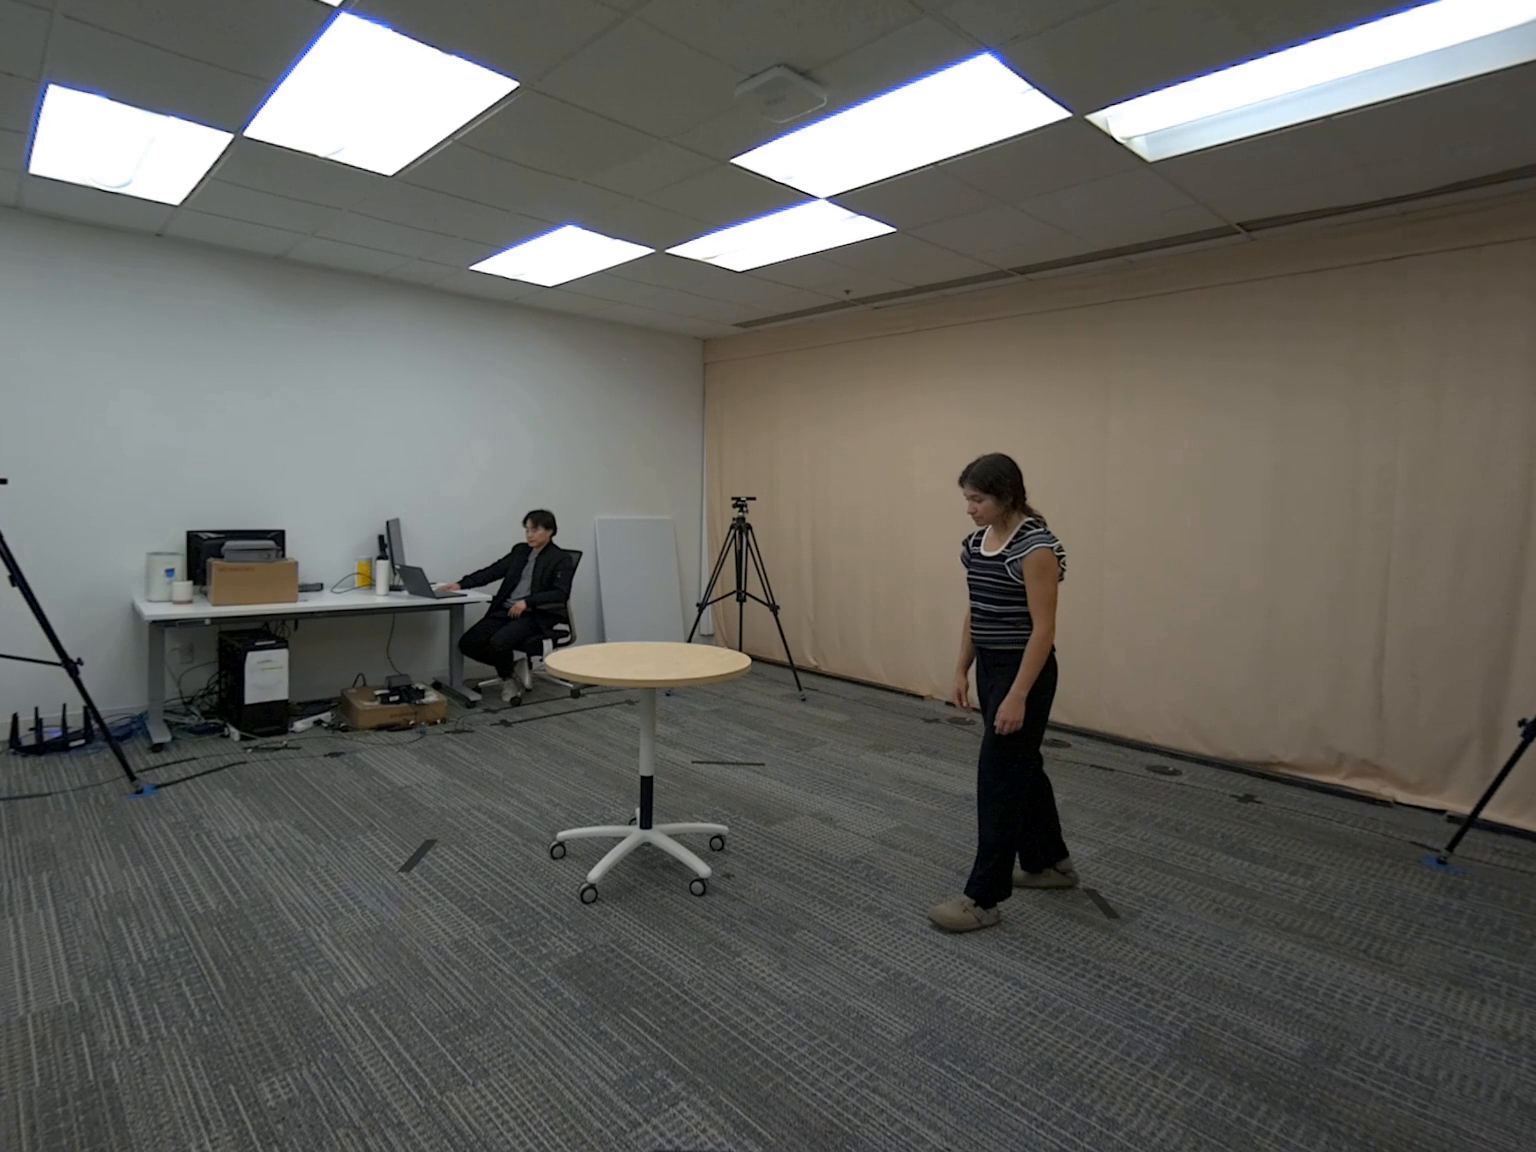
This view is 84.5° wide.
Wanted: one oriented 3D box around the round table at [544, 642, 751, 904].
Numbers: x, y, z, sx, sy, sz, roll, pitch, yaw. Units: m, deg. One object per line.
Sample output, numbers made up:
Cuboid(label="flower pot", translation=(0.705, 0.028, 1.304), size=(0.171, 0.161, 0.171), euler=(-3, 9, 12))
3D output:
Cuboid(label="round table", translation=(-0.459, 0.697, 3.154), size=(0.784, 0.784, 0.788), euler=(1, 4, -1))
